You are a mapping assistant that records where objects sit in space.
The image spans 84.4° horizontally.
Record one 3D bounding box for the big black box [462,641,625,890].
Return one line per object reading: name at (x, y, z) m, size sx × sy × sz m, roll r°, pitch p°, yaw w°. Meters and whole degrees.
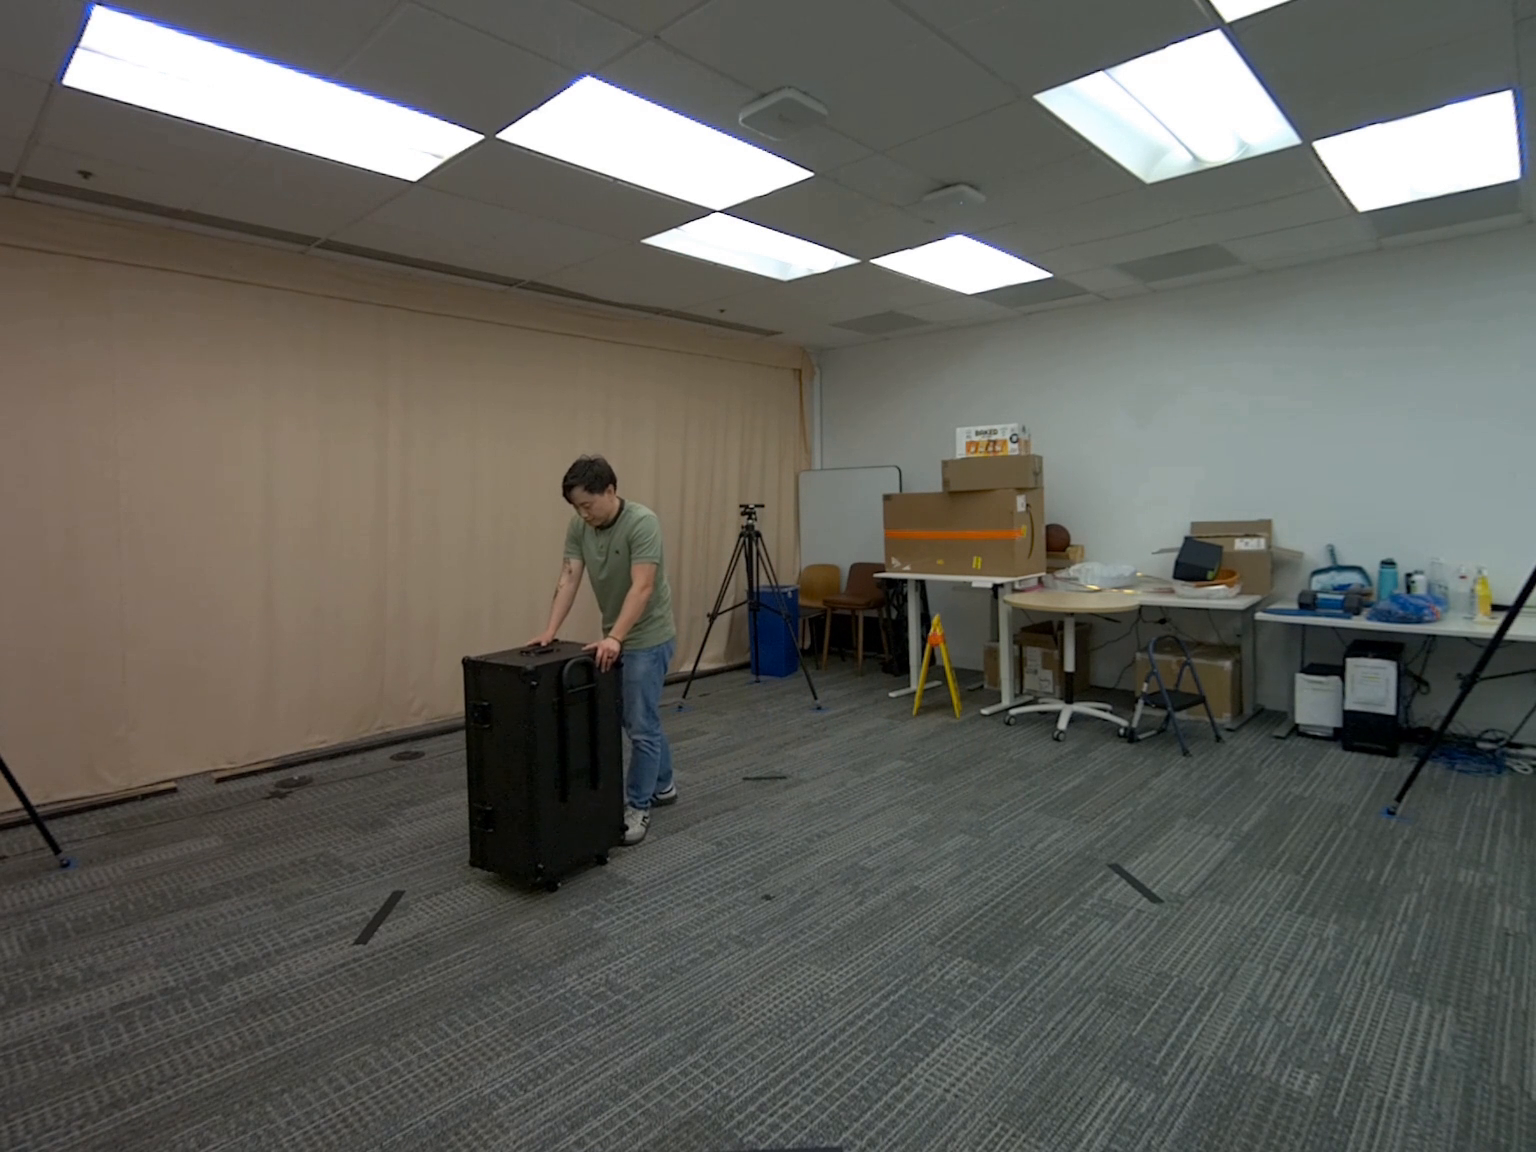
big black box at (-0.837, 0.714, 3.224) m, size 0.408 × 0.859 × 0.507 m, roll 2°, pitch 5°, yaw 32°
